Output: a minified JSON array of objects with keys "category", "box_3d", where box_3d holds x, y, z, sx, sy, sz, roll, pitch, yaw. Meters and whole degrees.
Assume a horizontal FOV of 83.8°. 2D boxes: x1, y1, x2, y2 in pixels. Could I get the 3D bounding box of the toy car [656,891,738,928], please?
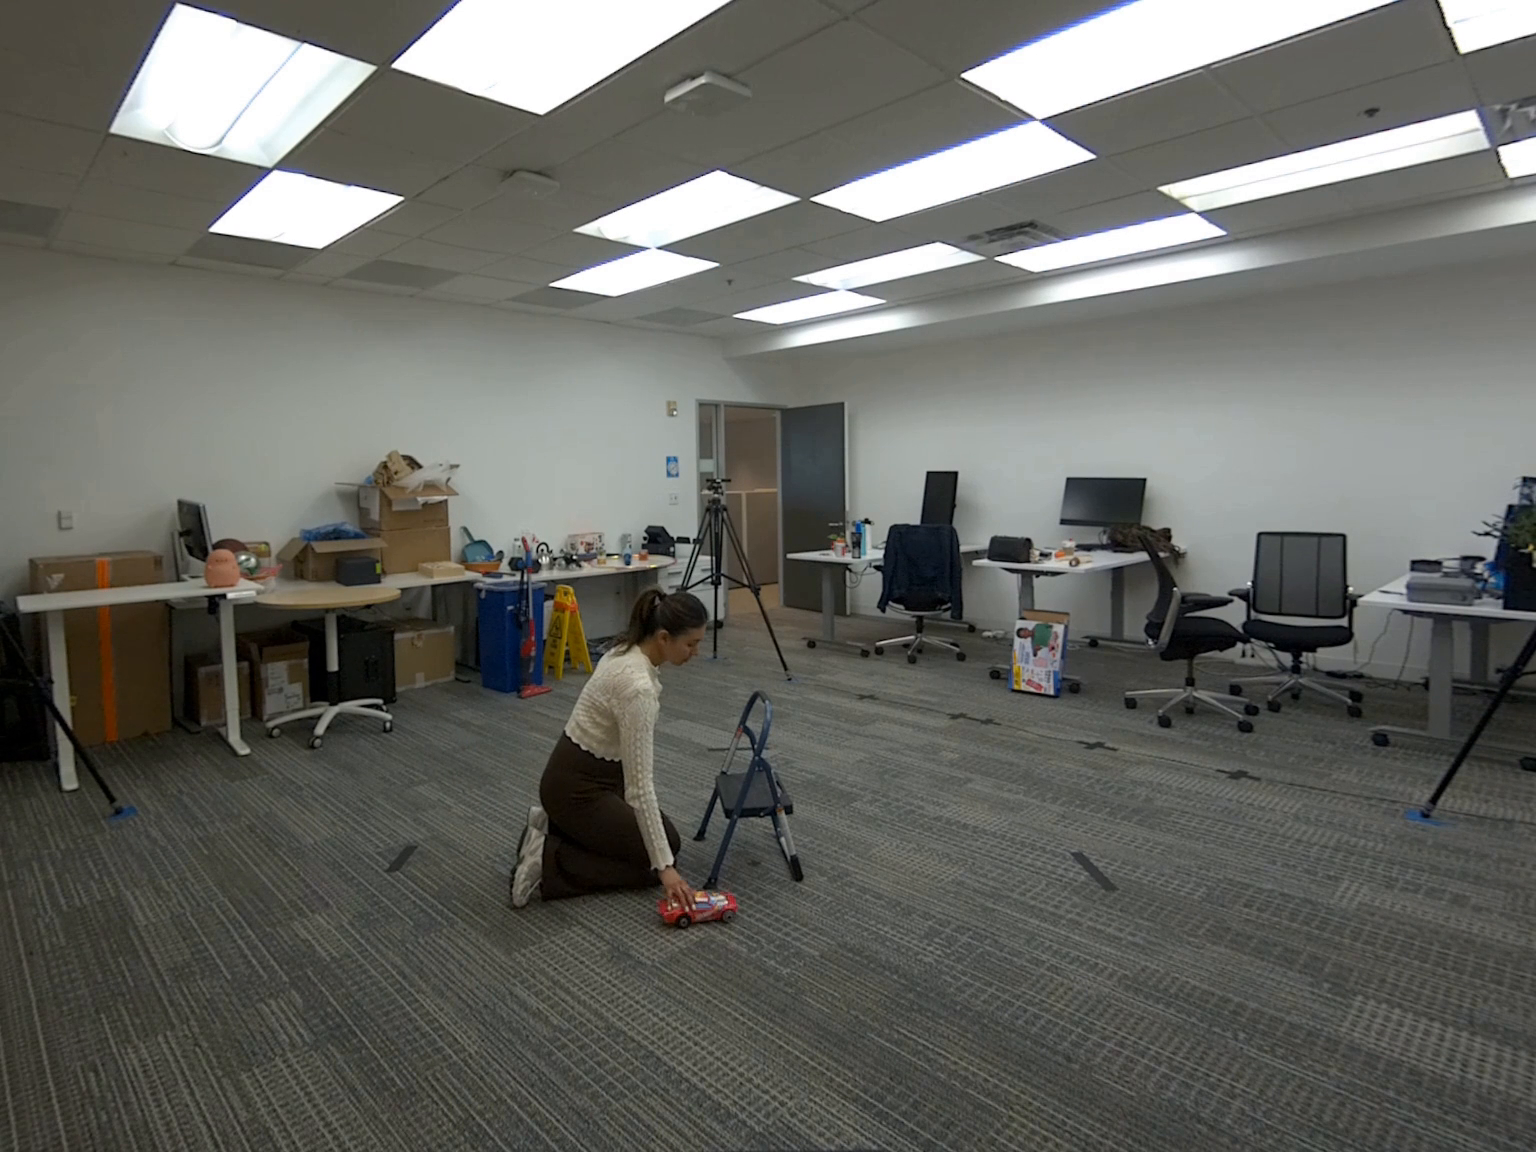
[{"category":"toy car","box_3d":[-0.225,1.059,2.715,0.251,0.083,0.132,7,3,-13]}]
